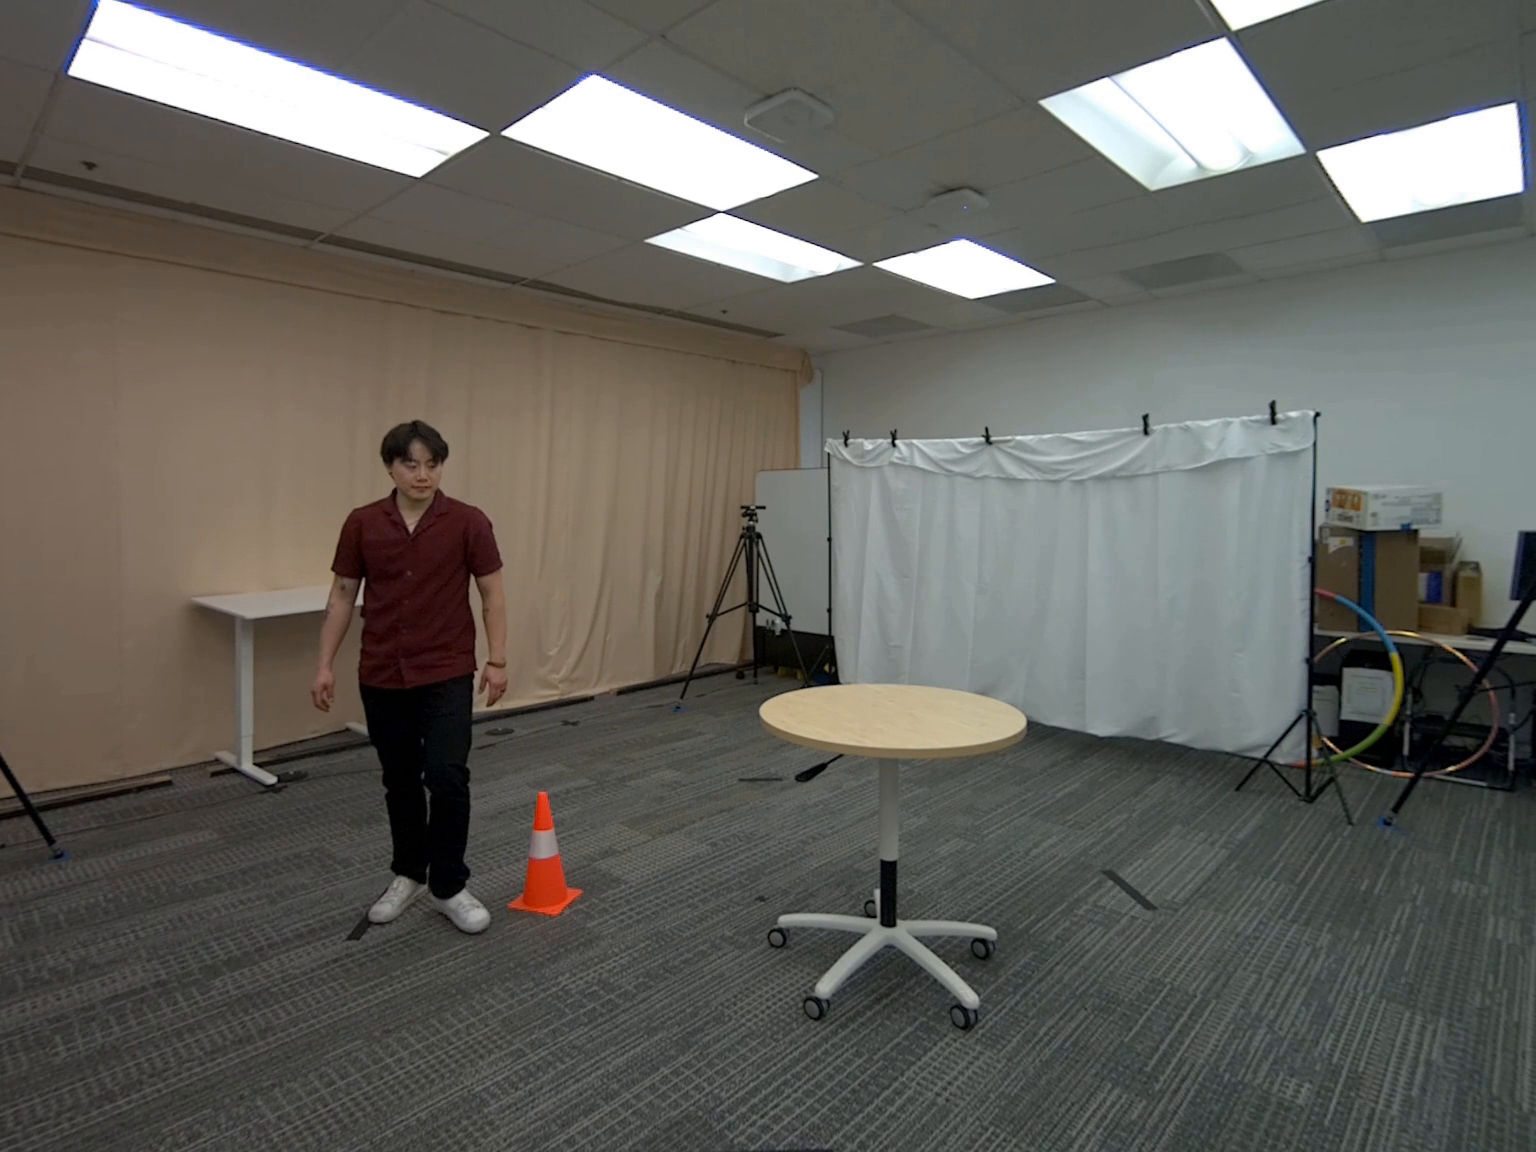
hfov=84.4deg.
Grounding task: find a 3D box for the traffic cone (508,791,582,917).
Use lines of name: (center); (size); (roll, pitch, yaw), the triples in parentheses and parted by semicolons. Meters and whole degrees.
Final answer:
traffic cone: (-0.804, 0.967, 2.978); (0.208, 0.383, 0.201); (-1, 2, 21)
